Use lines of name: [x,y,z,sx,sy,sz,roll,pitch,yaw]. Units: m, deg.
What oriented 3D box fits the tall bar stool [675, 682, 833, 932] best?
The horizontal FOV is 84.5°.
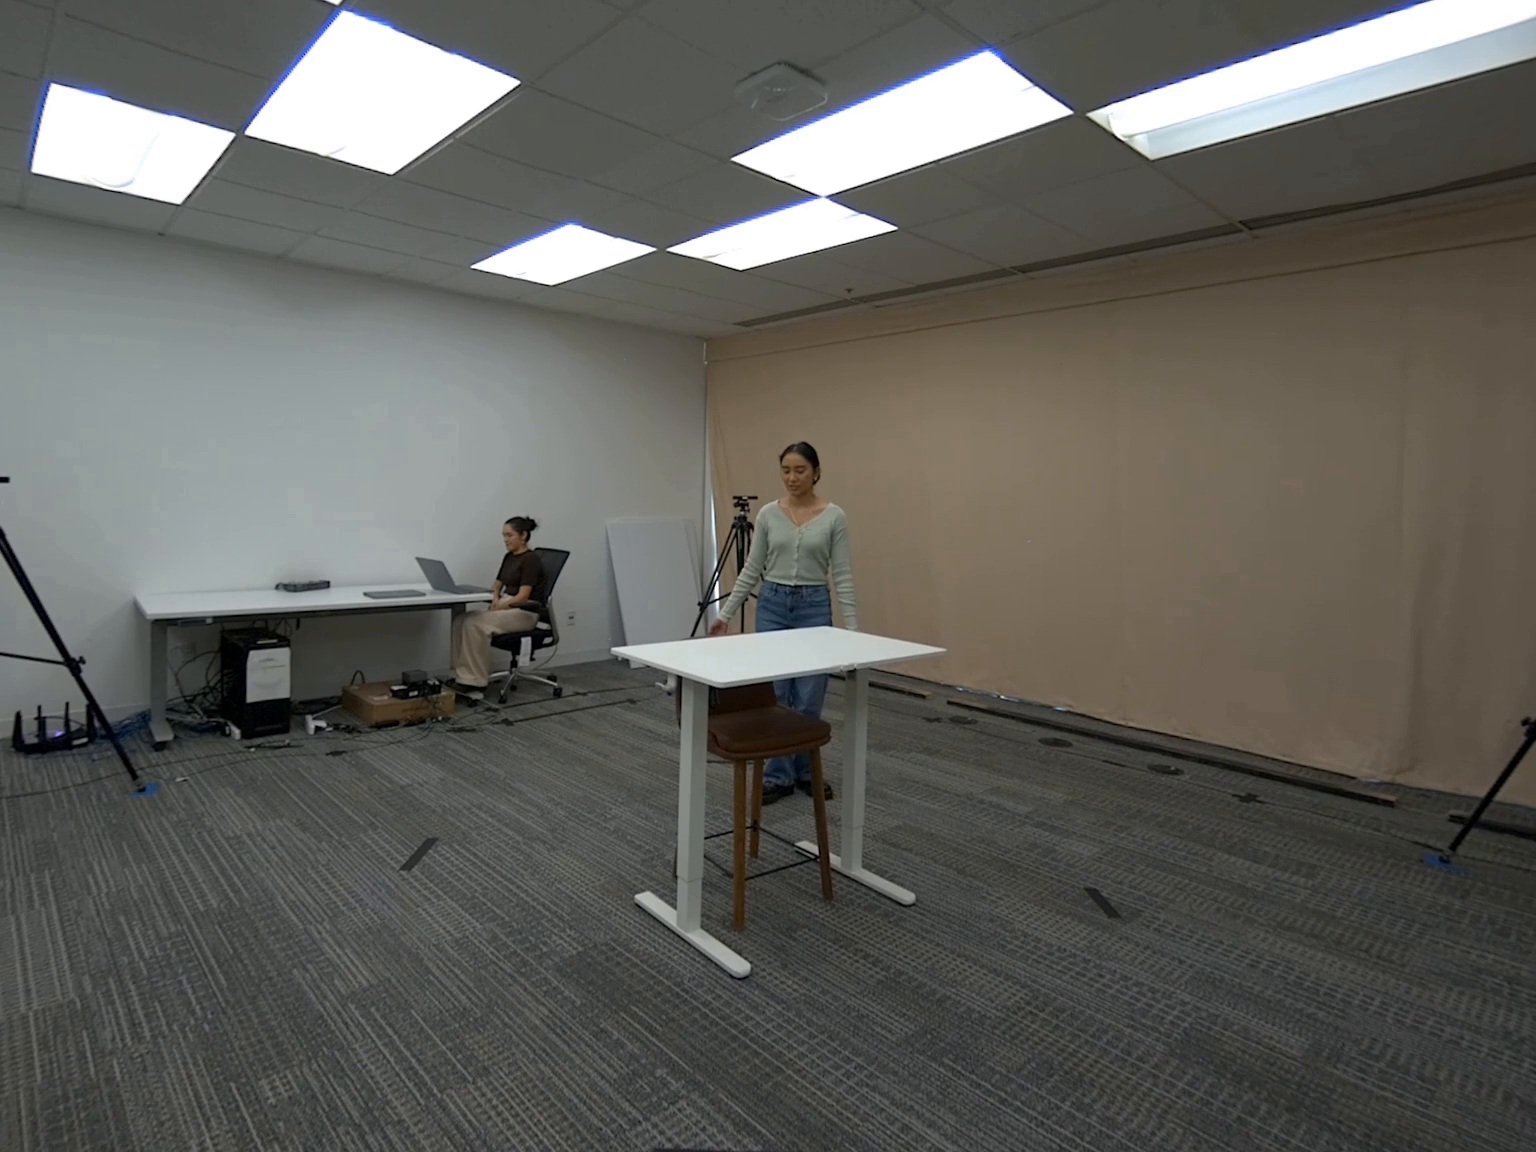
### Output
tall bar stool: [-0.068,0.686,2.974,0.446,0.889,0.478,-2,2,-36]
